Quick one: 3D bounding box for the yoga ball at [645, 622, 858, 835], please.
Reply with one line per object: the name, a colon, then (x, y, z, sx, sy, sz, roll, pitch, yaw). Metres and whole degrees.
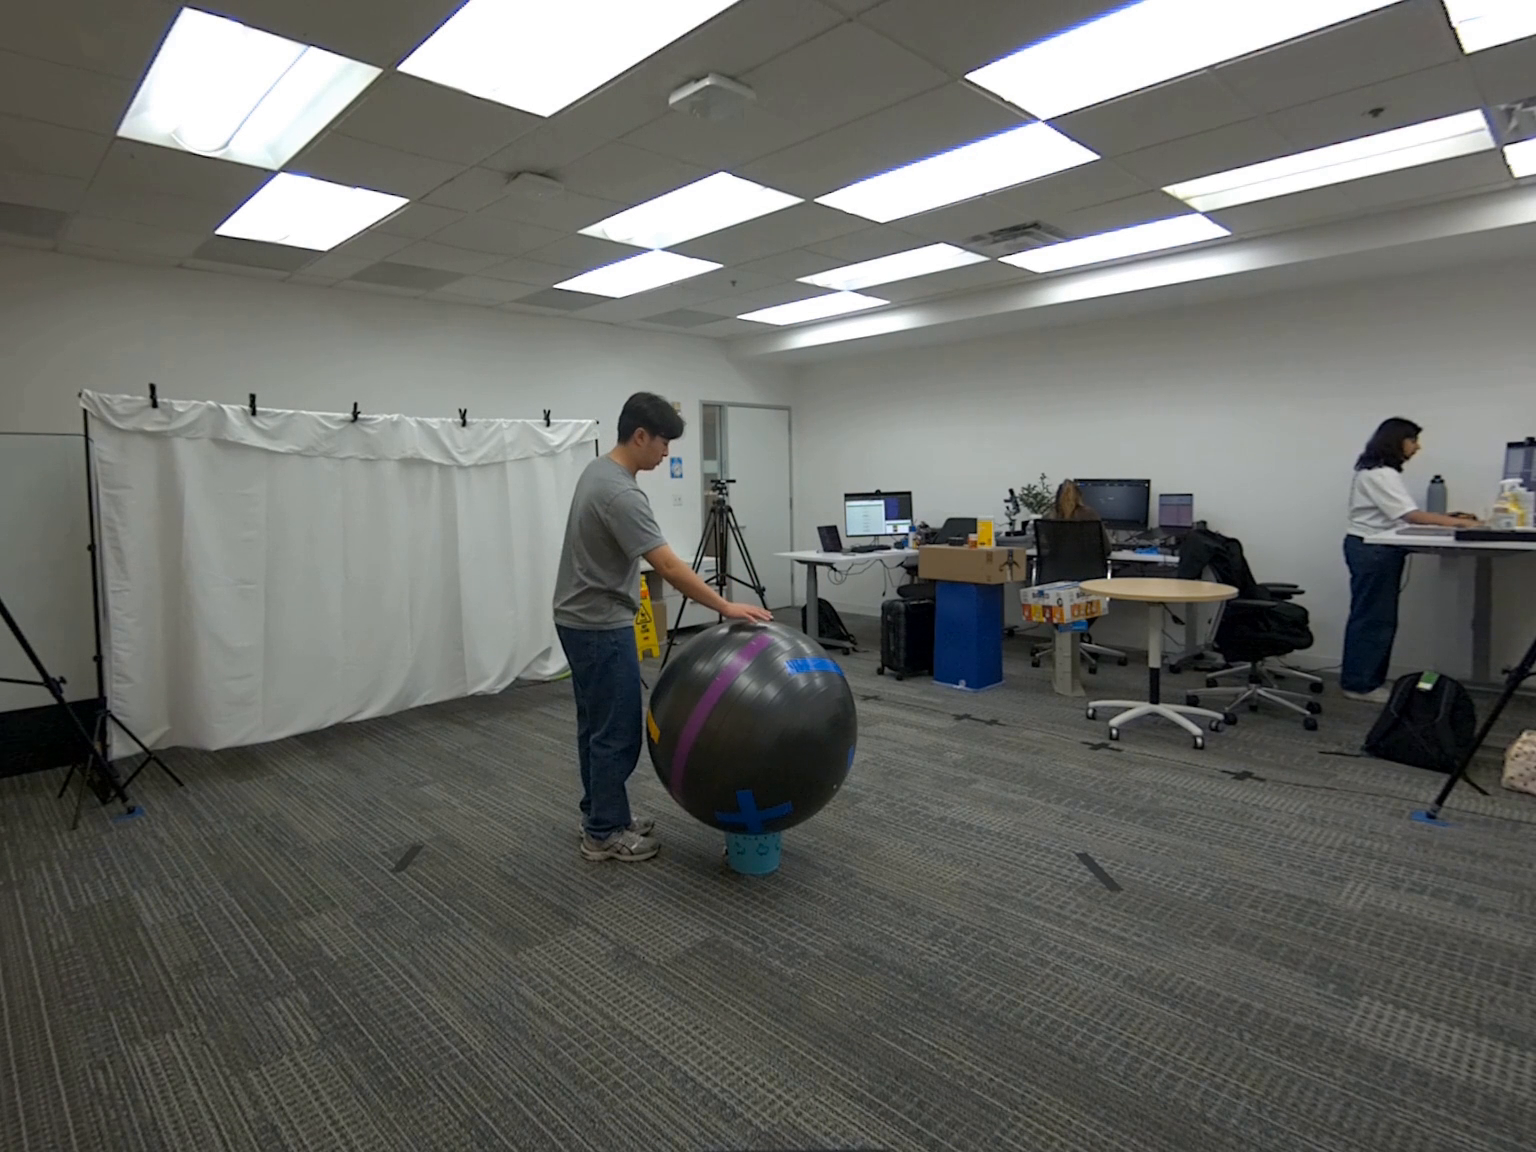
yoga ball: (-0.058, 0.534, 3.086, 0.757, 0.755, 0.762, -1, 5, -2)
